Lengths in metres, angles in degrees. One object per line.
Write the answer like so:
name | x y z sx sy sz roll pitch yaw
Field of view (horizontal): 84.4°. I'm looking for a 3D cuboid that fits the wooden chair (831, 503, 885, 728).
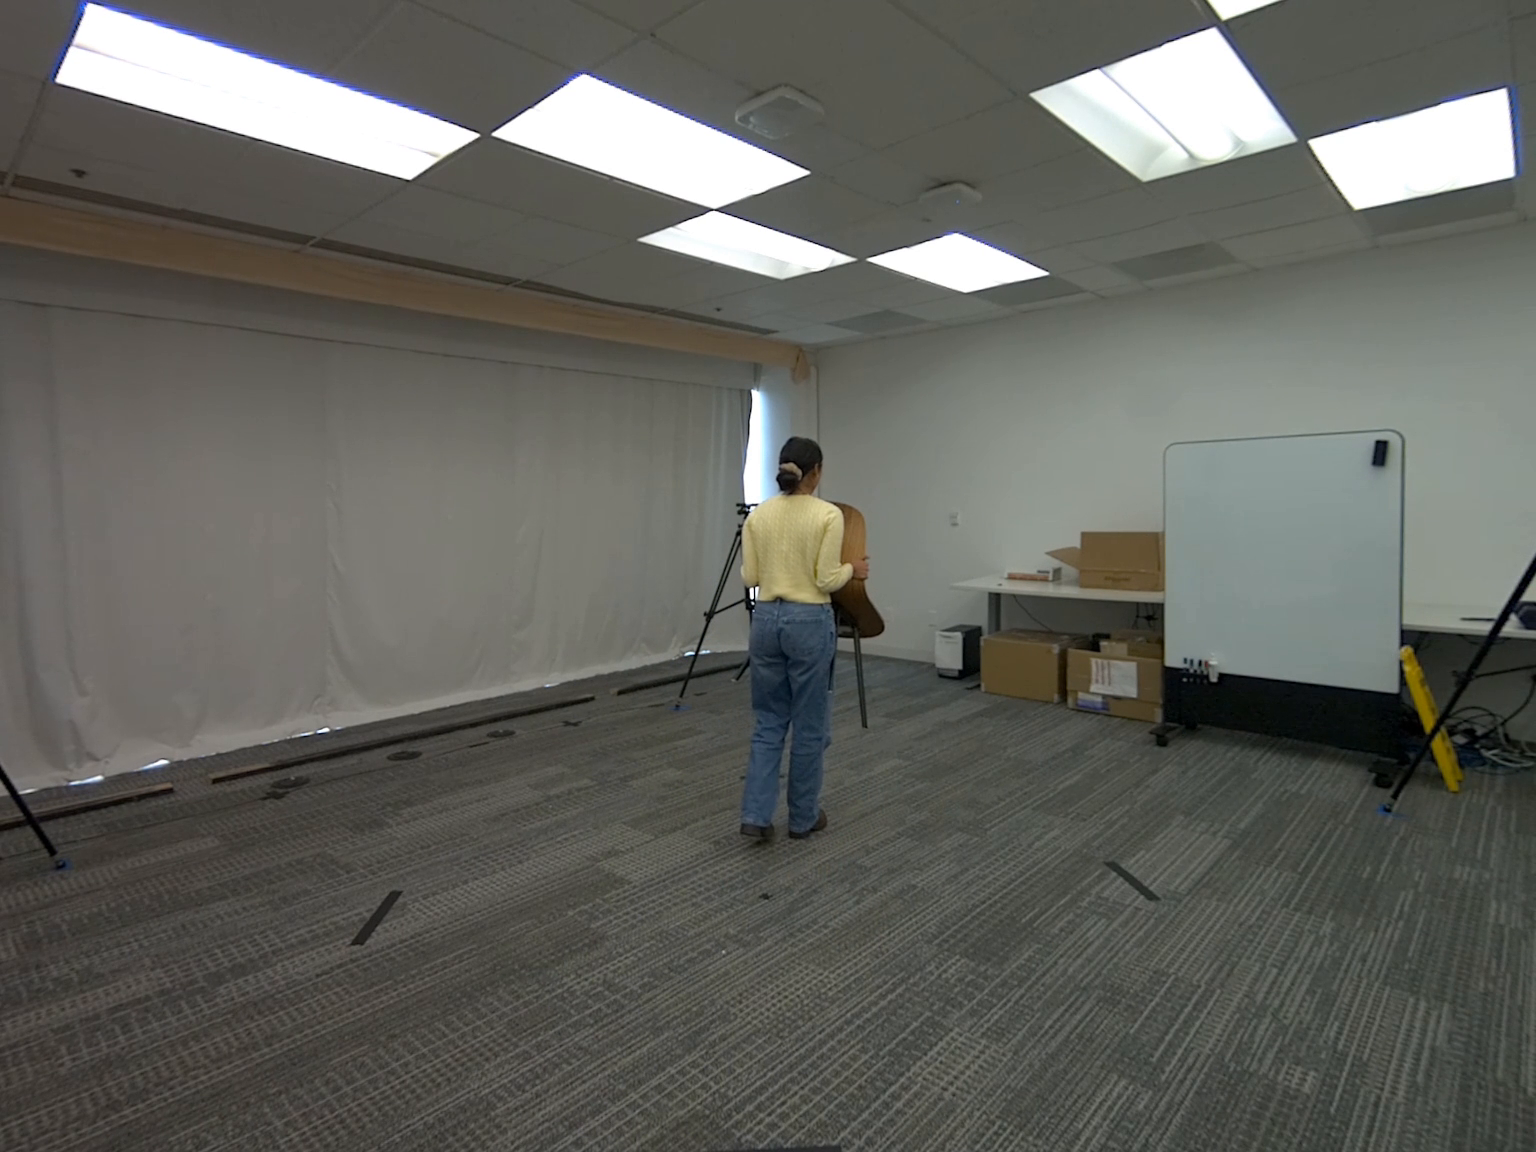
wooden chair | 0.256 0.176 3.737 0.491 0.884 0.505 0 -24 29
